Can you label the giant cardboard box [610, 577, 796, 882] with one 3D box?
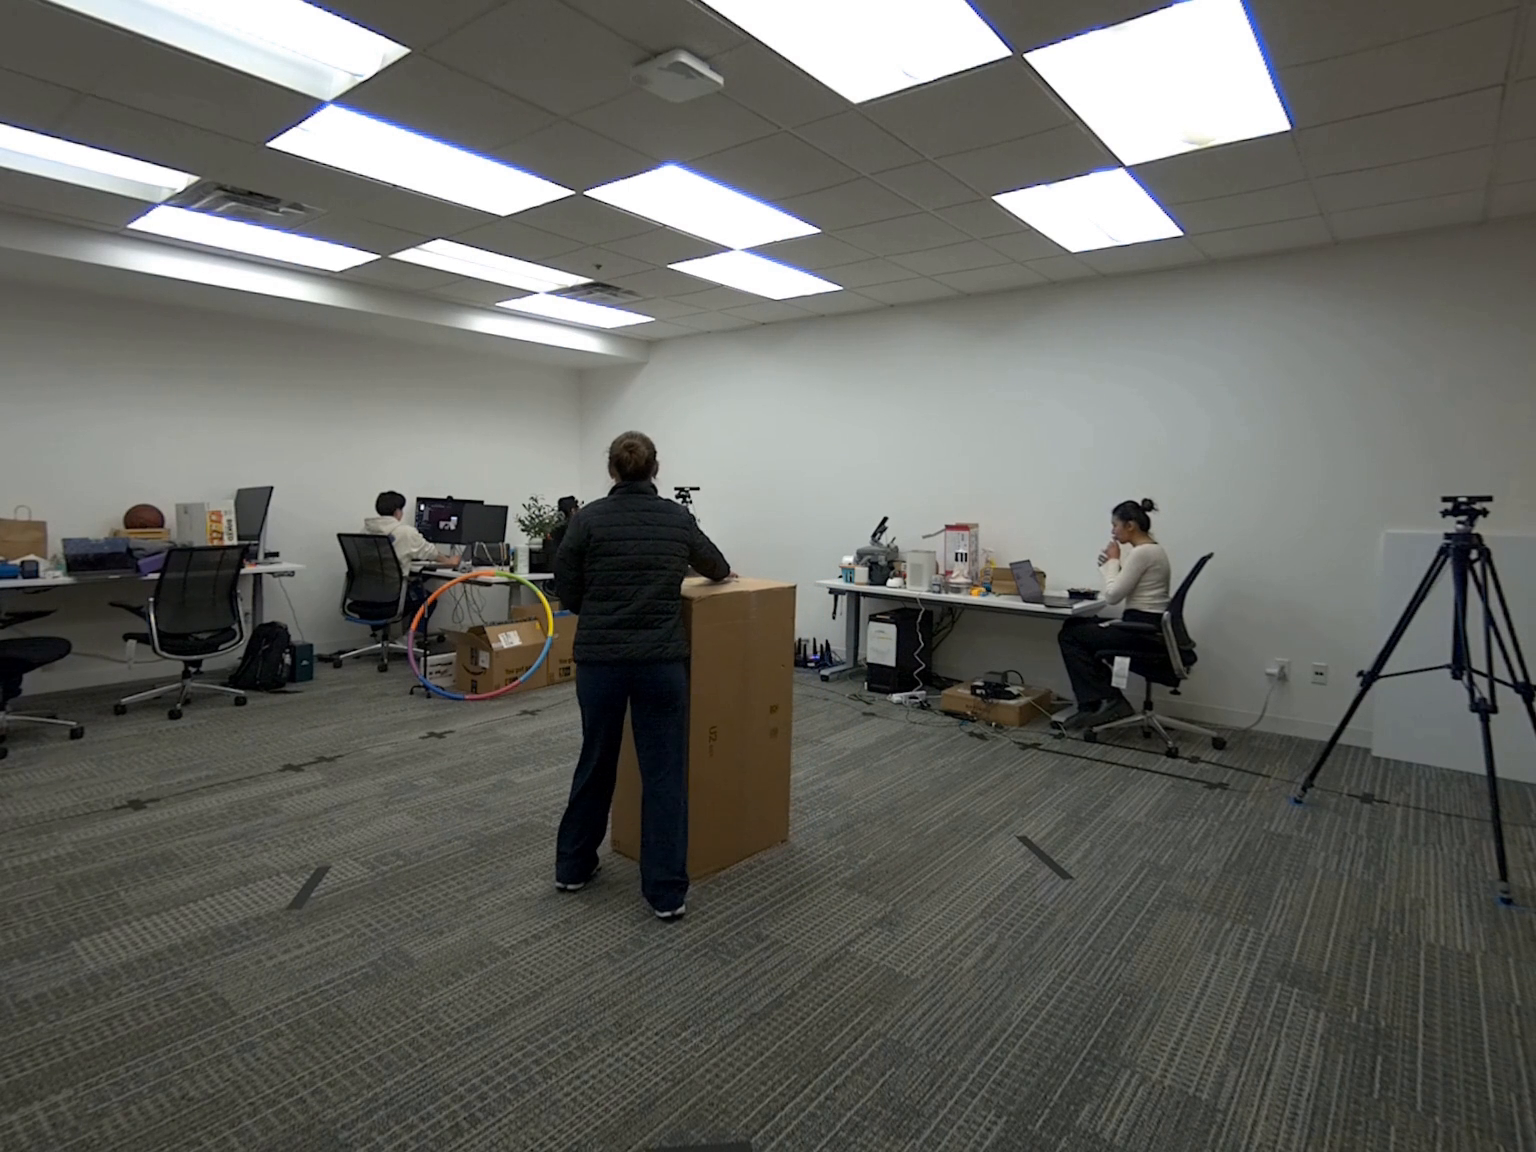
[{"bbox_3d":[-0.224,0.535,3.307,0.441,1.022,0.560,6,6,42],"label":"giant cardboard box"}]
